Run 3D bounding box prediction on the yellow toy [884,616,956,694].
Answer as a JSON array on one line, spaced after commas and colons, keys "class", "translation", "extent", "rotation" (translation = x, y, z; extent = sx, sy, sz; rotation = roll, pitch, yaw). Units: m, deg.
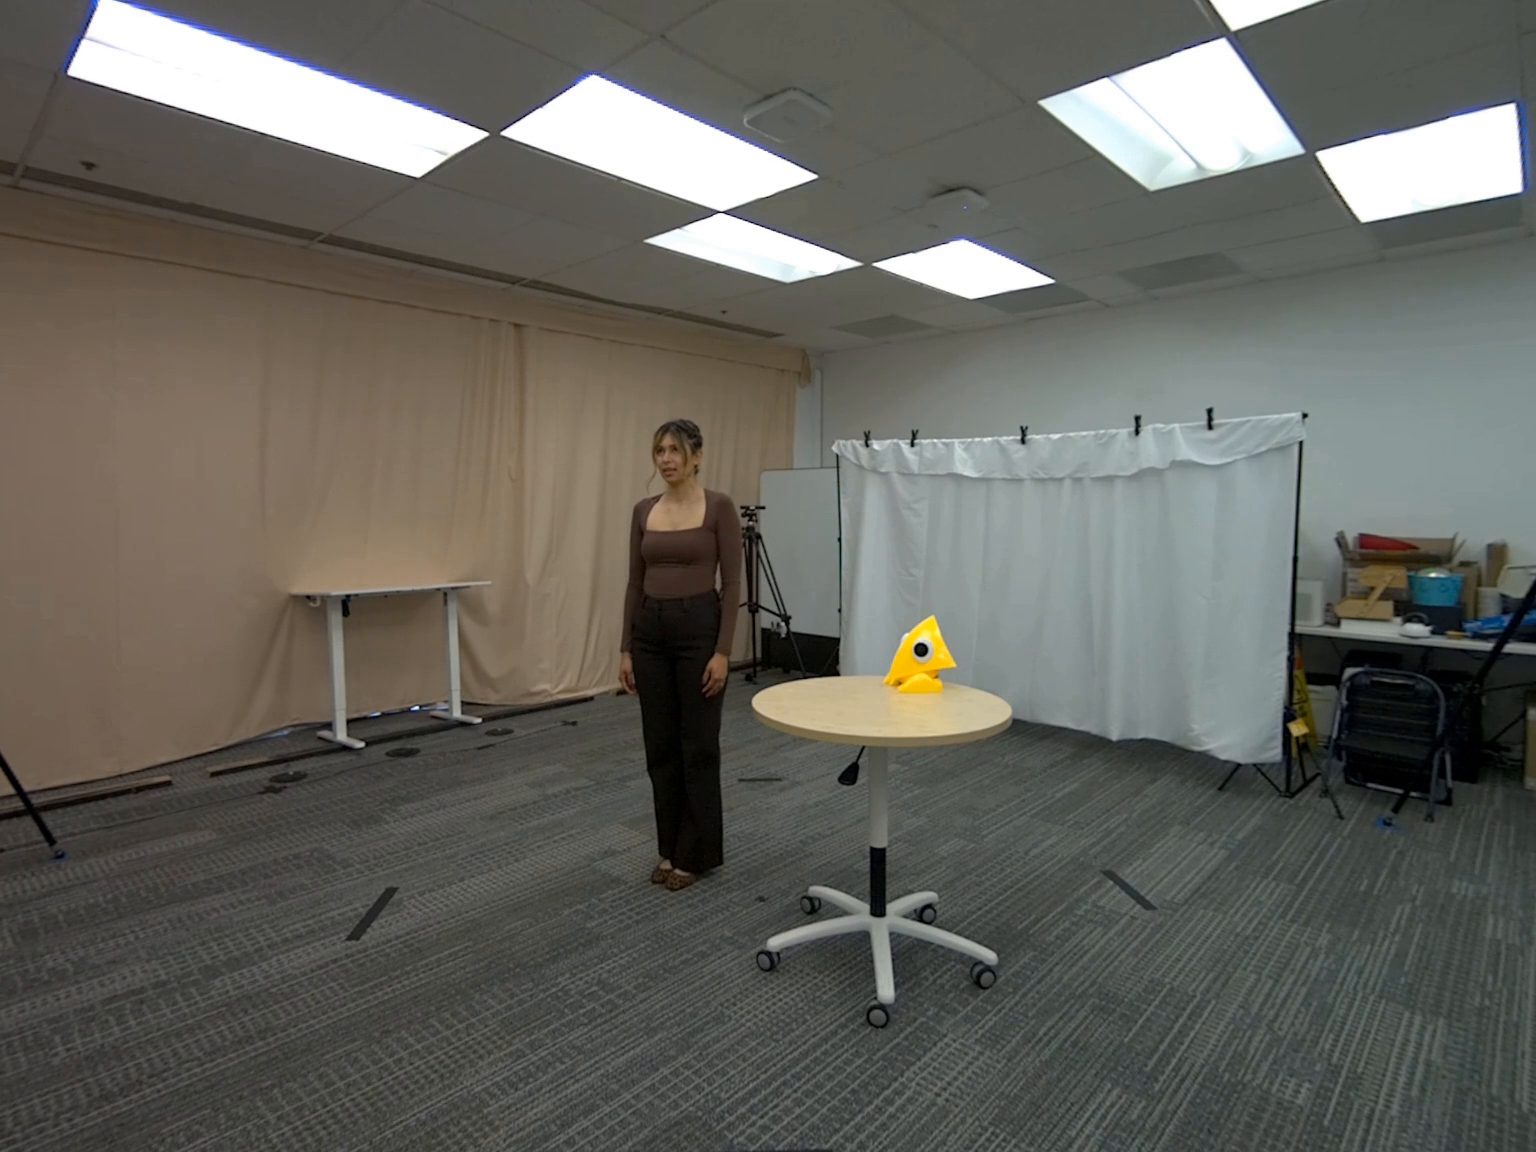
[{"class": "yellow toy", "translation": [0.492, 0.248, 2.751], "extent": [0.190, 0.230, 0.208], "rotation": [-1, 4, -14]}]
